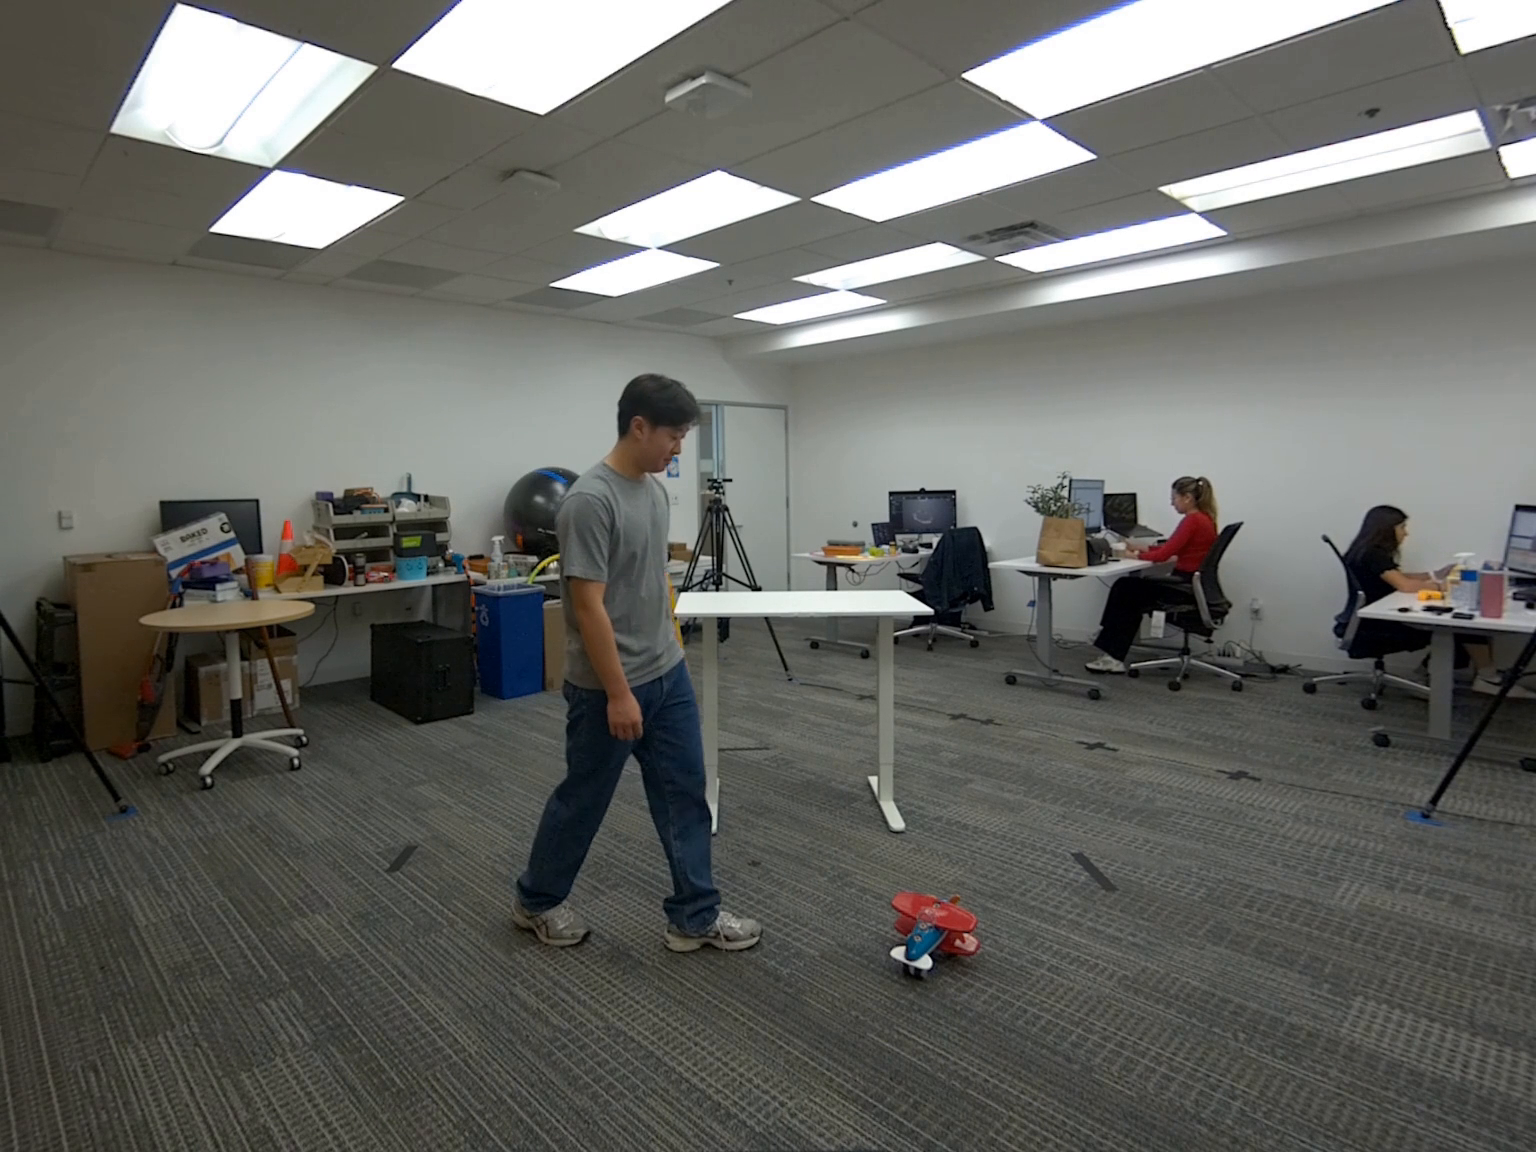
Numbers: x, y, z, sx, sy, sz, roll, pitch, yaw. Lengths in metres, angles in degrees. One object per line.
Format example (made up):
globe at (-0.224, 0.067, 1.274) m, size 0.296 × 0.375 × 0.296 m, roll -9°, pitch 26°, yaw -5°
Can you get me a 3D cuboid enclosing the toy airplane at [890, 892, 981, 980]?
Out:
toy airplane at (0.486, 1.034, 2.445) m, size 0.254 × 0.156 × 0.257 m, roll 0°, pitch 3°, yaw 10°
